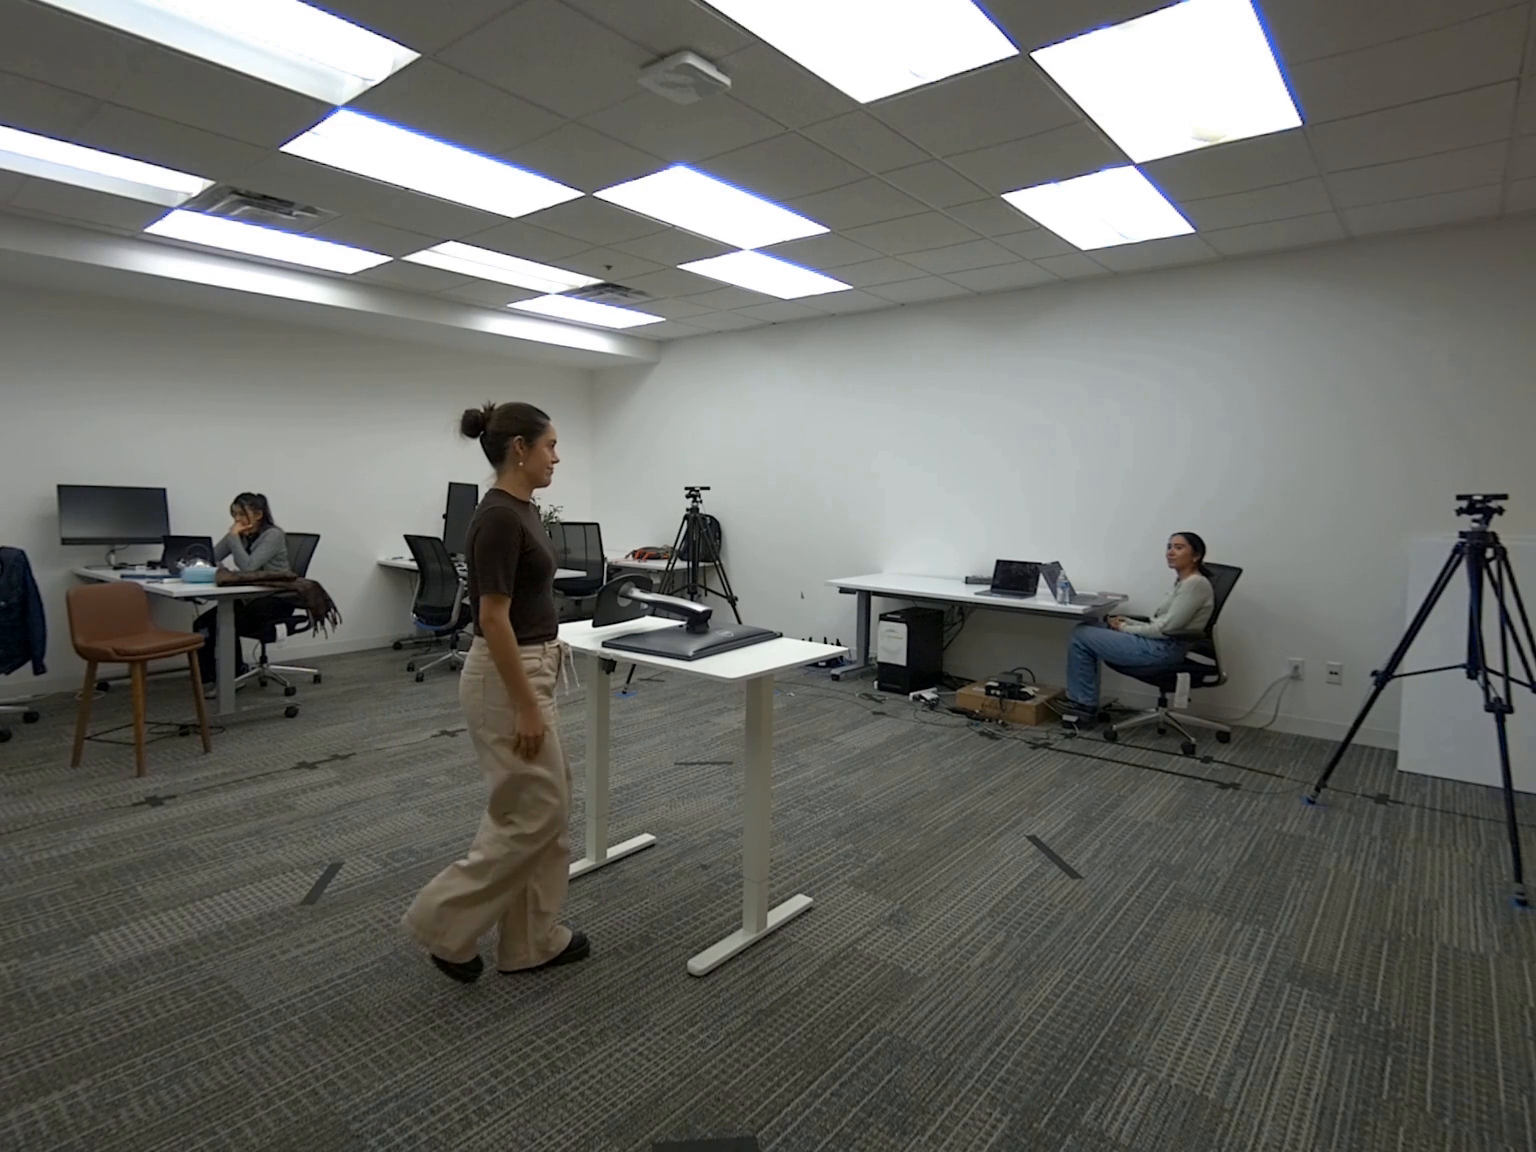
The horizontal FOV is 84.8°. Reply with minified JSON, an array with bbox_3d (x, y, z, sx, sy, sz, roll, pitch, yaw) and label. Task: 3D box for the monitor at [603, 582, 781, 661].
[{"bbox_3d":[-0.311,0.154,2.848,0.542,0.185,0.525,20,17,32],"label":"monitor"}]
